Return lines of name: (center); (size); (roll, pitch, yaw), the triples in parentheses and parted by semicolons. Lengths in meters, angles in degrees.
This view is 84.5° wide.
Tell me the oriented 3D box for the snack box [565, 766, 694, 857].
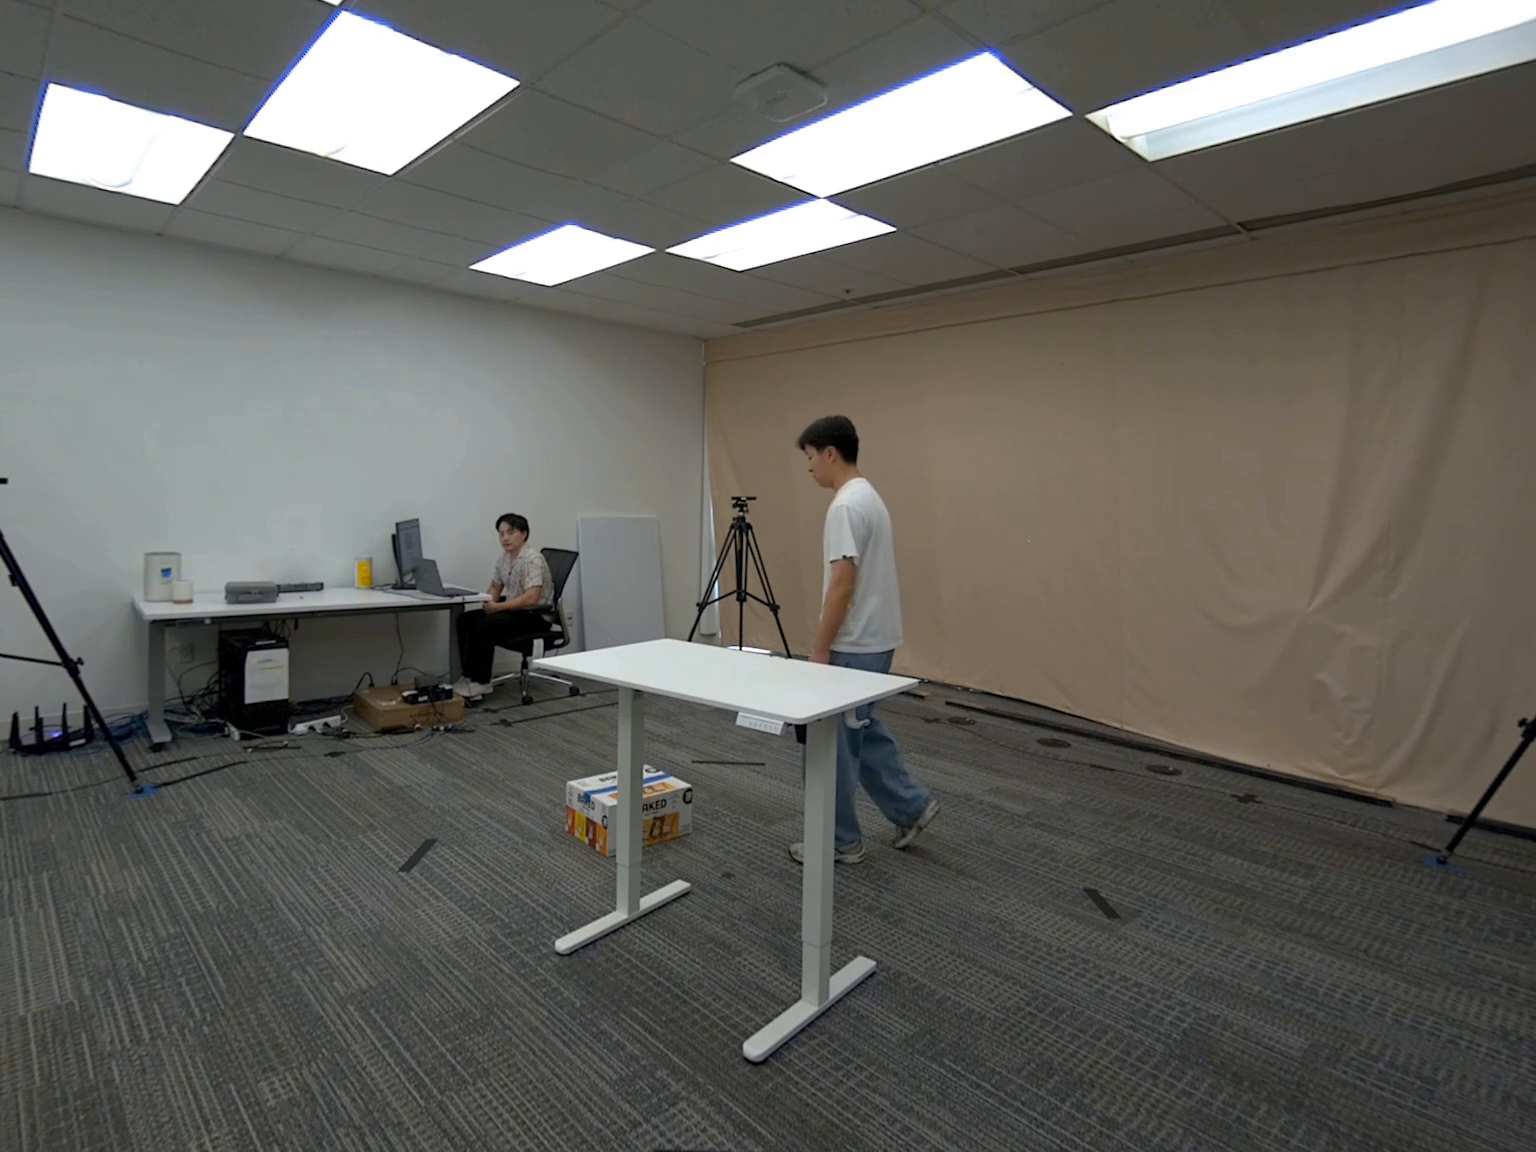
snack box: (-0.577, 0.955, 3.481); (0.396, 0.205, 0.349); (-3, 6, -40)
